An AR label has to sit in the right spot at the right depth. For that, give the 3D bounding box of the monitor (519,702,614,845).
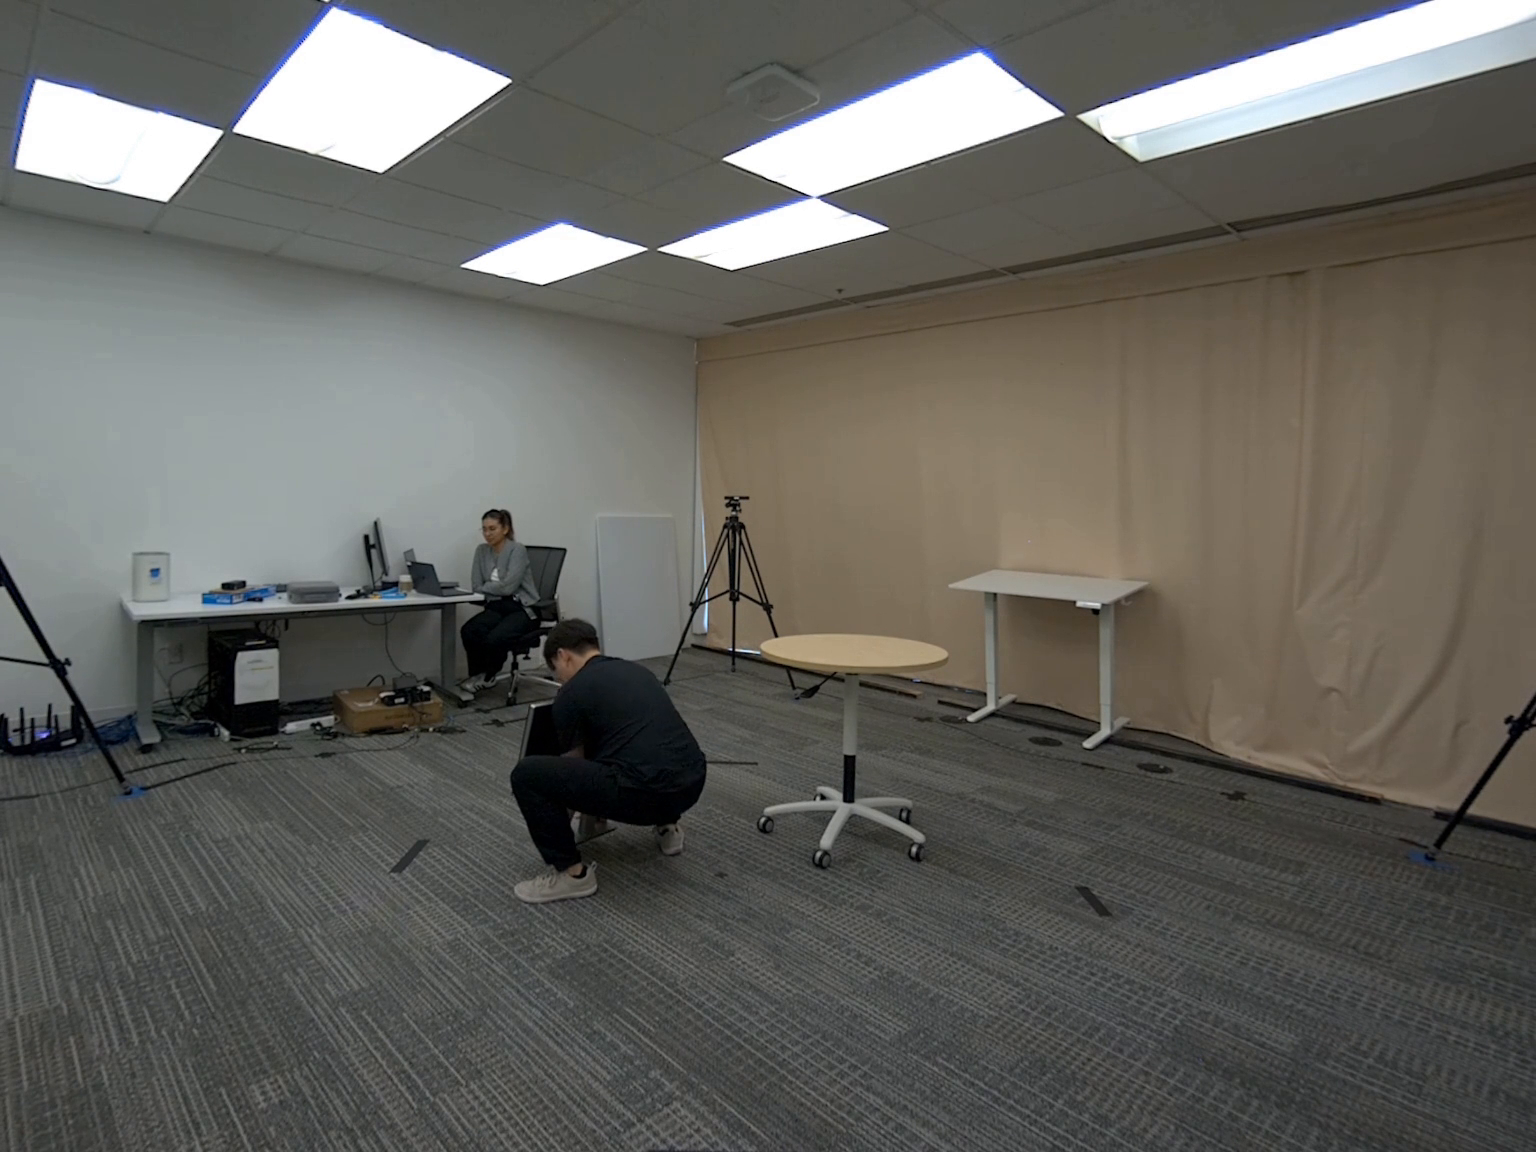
[{"bbox_3d":[-0.718,0.718,3.274,0.191,0.521,0.528,6,5,32],"label":"monitor"}]
